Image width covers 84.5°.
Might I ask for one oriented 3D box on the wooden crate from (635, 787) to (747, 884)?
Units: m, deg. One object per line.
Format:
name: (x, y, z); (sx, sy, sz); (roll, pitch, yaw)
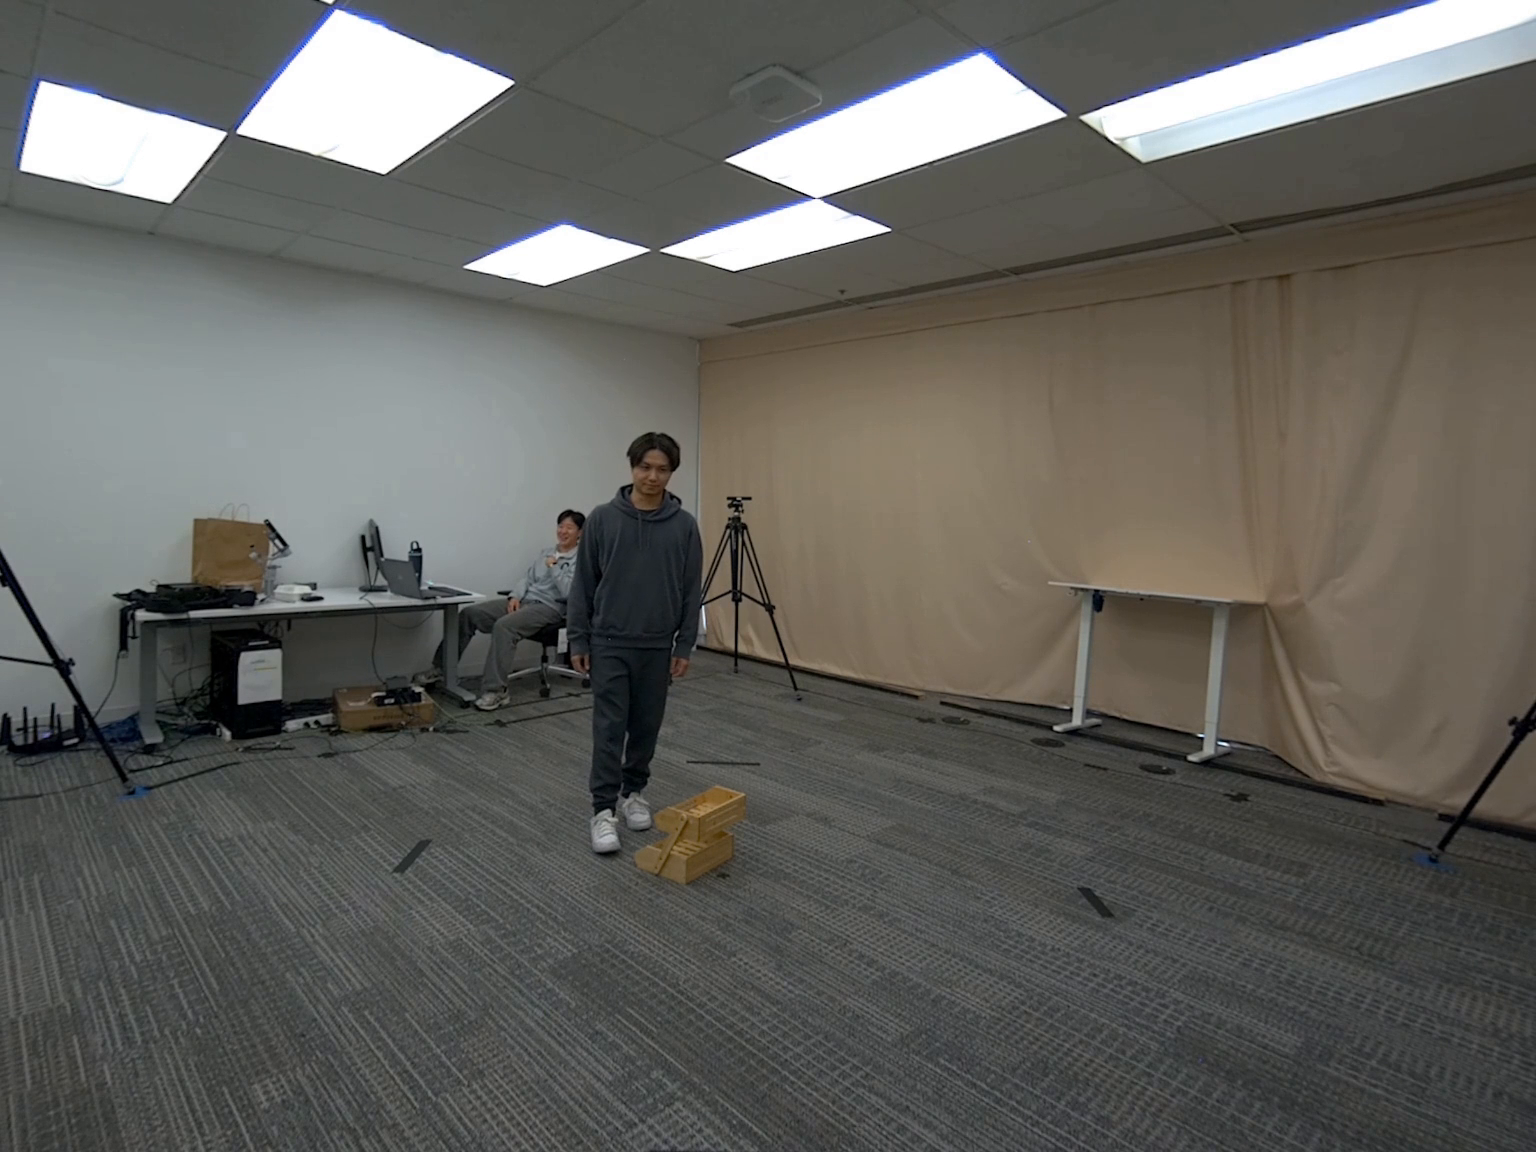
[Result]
wooden crate: (-0.302, 0.961, 3.195); (0.309, 0.272, 0.318); (5, 5, 34)
